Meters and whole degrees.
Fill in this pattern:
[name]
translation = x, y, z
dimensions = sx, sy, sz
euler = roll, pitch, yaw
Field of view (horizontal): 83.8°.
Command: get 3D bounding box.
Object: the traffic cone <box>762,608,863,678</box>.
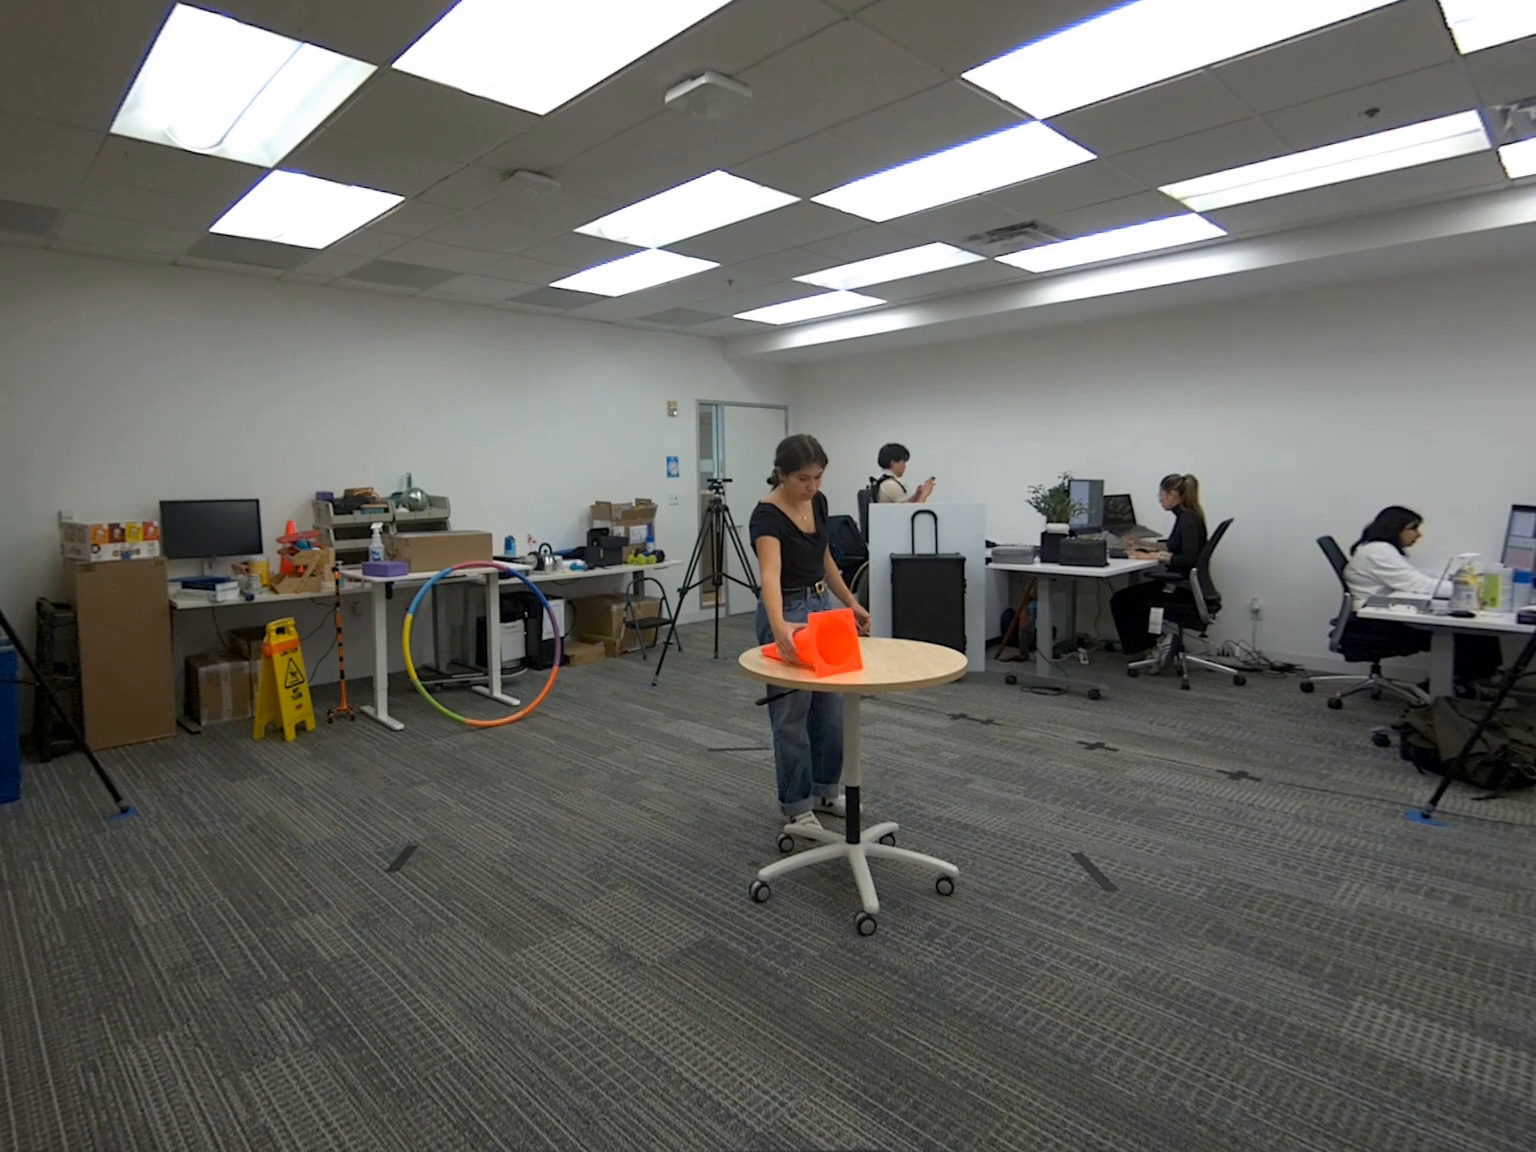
[traffic cone]
translation = 0.107, 0.238, 2.837
dimensions = 0.200, 0.205, 0.391
euler = -4, -6, -35
